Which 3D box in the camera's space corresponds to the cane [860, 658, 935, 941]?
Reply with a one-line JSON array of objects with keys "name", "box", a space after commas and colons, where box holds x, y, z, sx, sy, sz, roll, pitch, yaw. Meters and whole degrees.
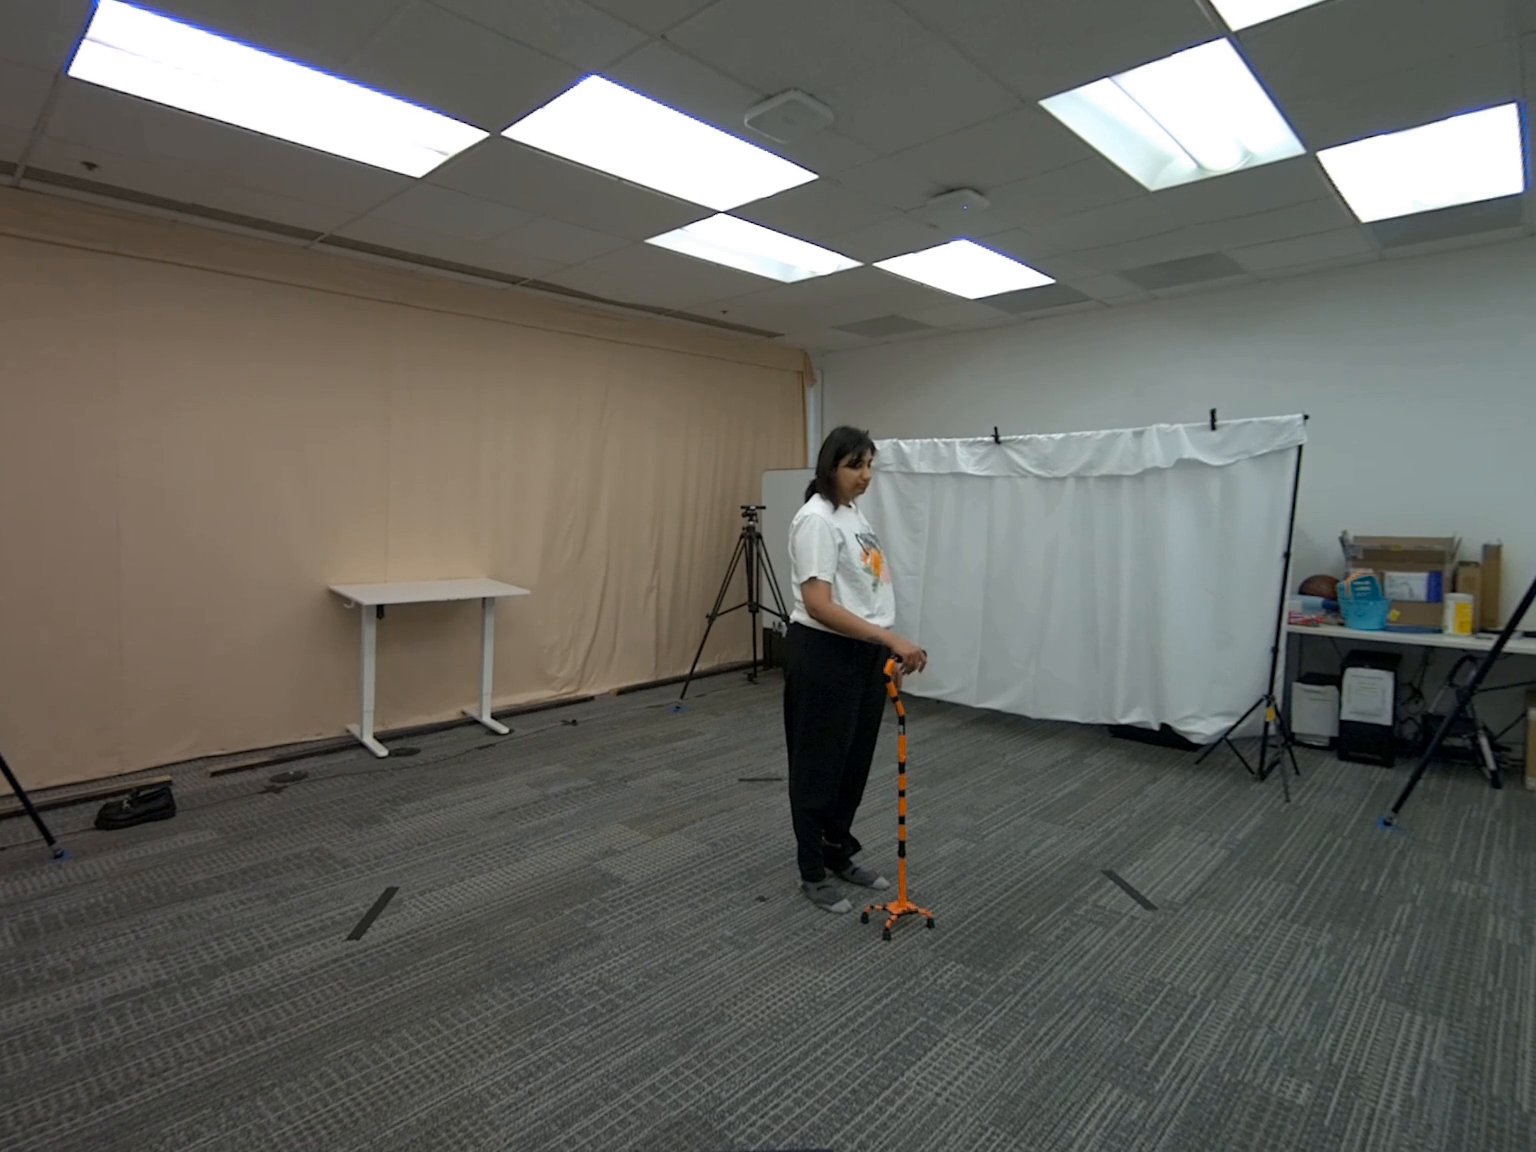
[{"name": "cane", "box": [0.437, 0.707, 2.762, 0.201, 0.905, 0.156, -2, 5, -26]}]
